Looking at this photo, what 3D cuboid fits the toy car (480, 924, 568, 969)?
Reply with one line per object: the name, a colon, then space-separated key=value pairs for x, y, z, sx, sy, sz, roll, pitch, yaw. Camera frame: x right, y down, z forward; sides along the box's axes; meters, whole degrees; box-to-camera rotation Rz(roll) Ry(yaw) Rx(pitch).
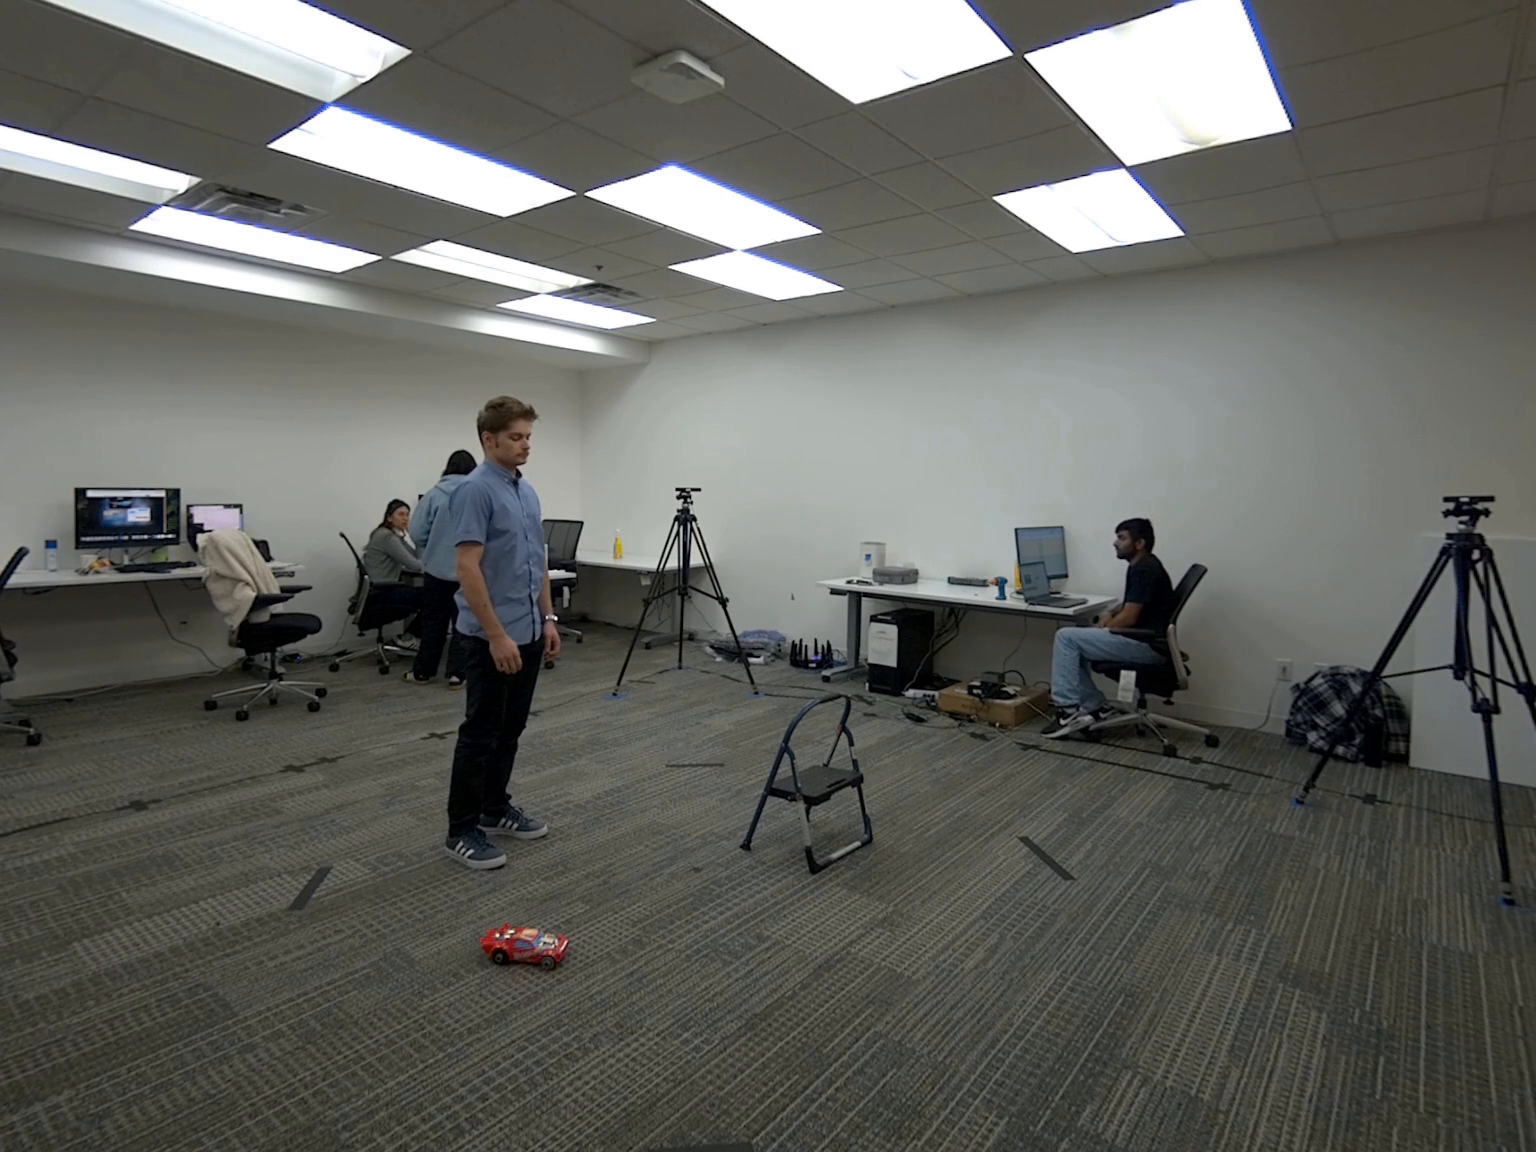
toy car: x=-0.732 y=1.089 z=2.503 sx=0.257 sy=0.083 sz=0.129 roll=12 pitch=6 yaw=7
